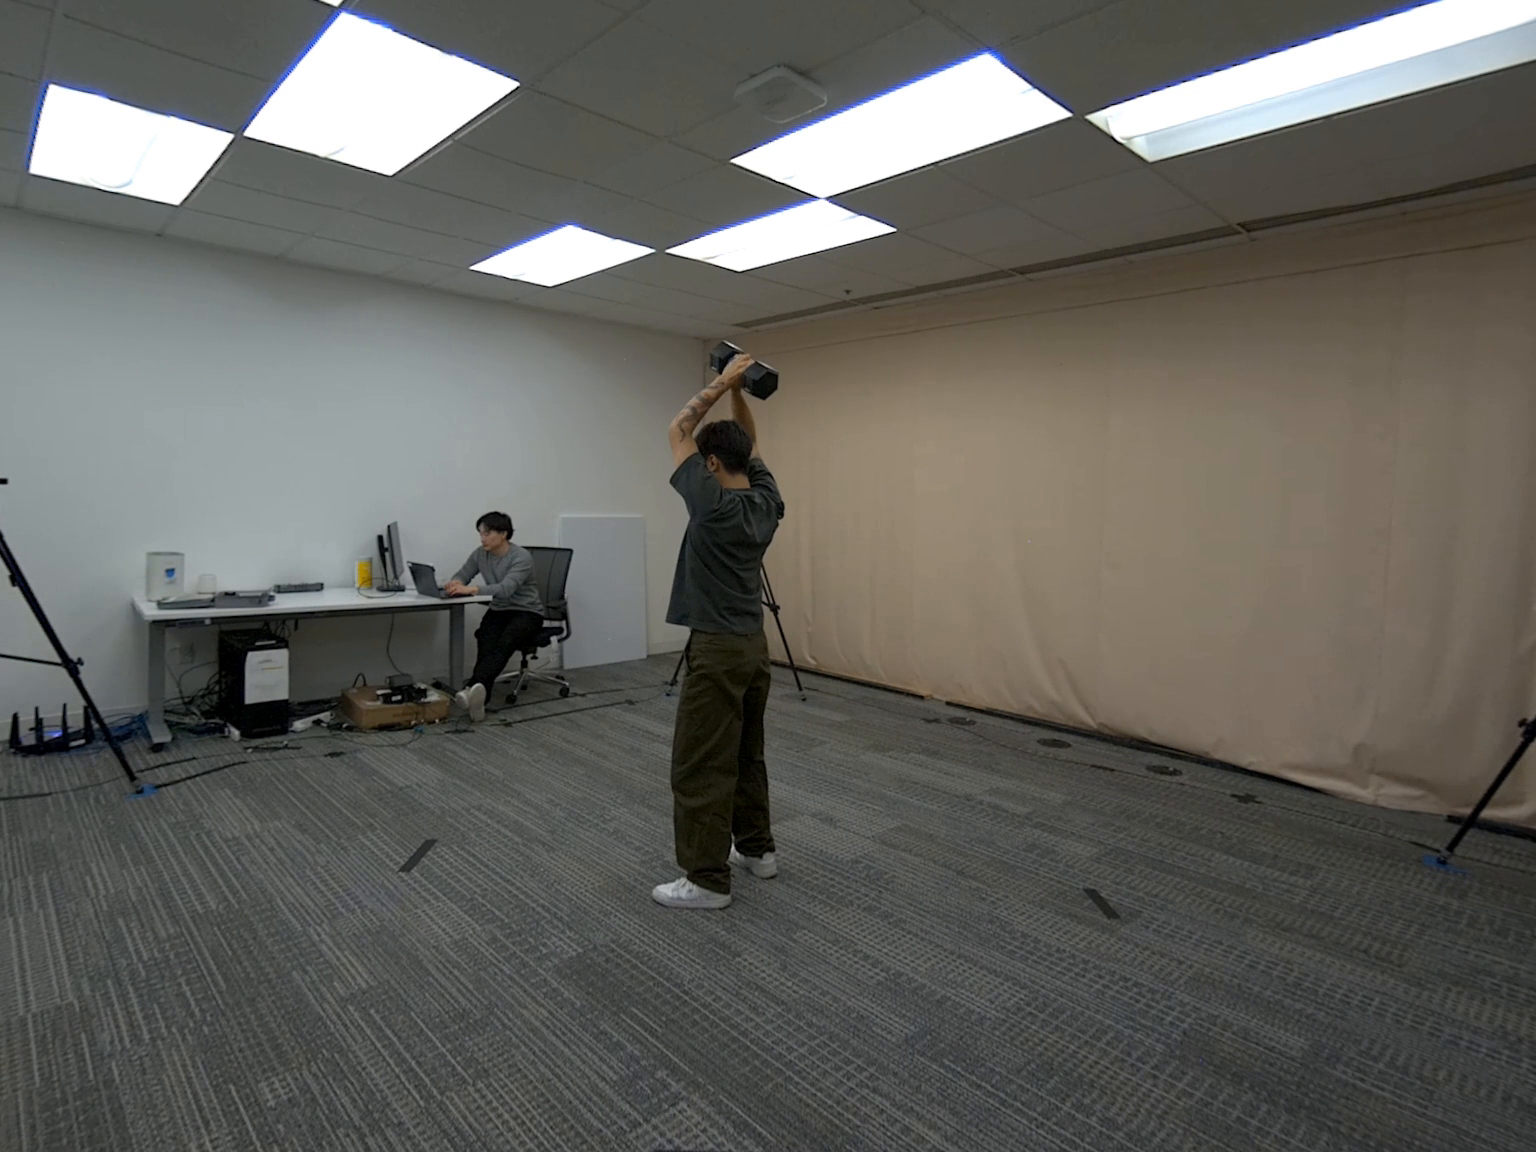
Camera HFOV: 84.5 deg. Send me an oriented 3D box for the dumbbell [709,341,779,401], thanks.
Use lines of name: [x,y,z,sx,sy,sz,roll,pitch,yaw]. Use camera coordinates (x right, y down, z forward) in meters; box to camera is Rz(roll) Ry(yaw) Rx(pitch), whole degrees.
dumbbell: [-0.097,-0.711,2.906,0.107,0.120,0.303,-21,42,-27]
